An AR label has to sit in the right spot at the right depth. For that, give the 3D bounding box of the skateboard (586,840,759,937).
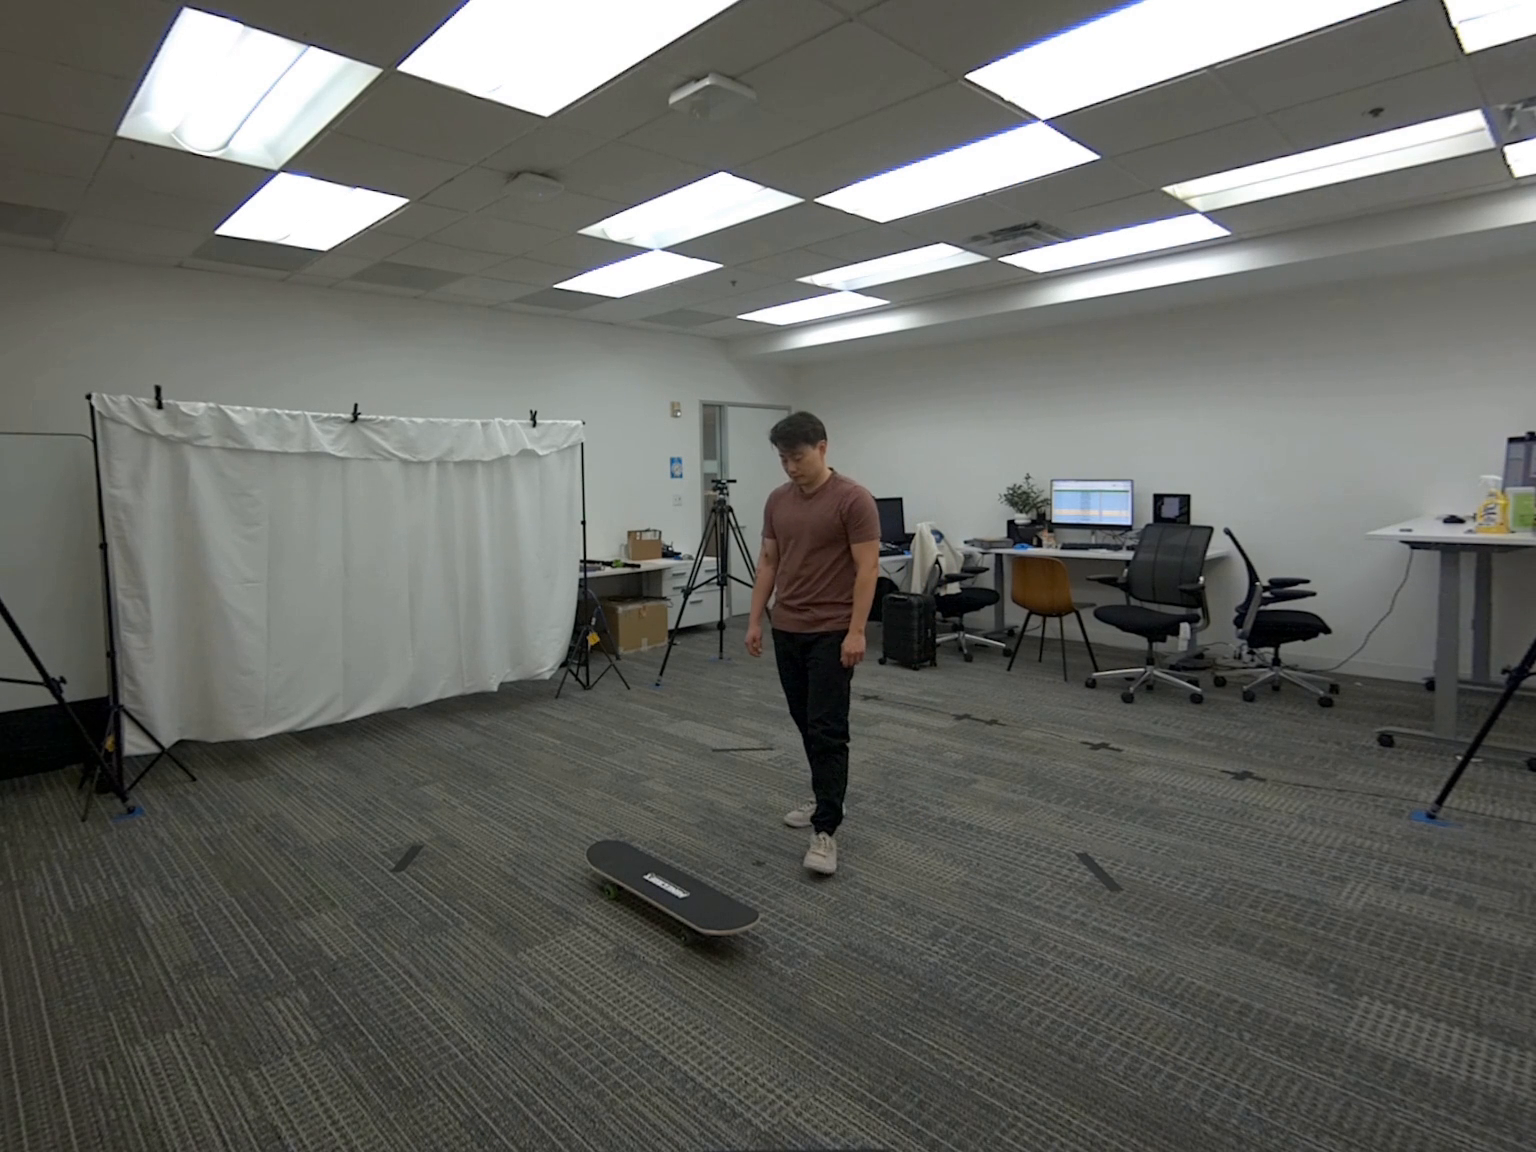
[{"bbox_3d":[-0.328,1.039,2.765,0.189,0.110,0.810,-9,10,-43],"label":"skateboard"}]
